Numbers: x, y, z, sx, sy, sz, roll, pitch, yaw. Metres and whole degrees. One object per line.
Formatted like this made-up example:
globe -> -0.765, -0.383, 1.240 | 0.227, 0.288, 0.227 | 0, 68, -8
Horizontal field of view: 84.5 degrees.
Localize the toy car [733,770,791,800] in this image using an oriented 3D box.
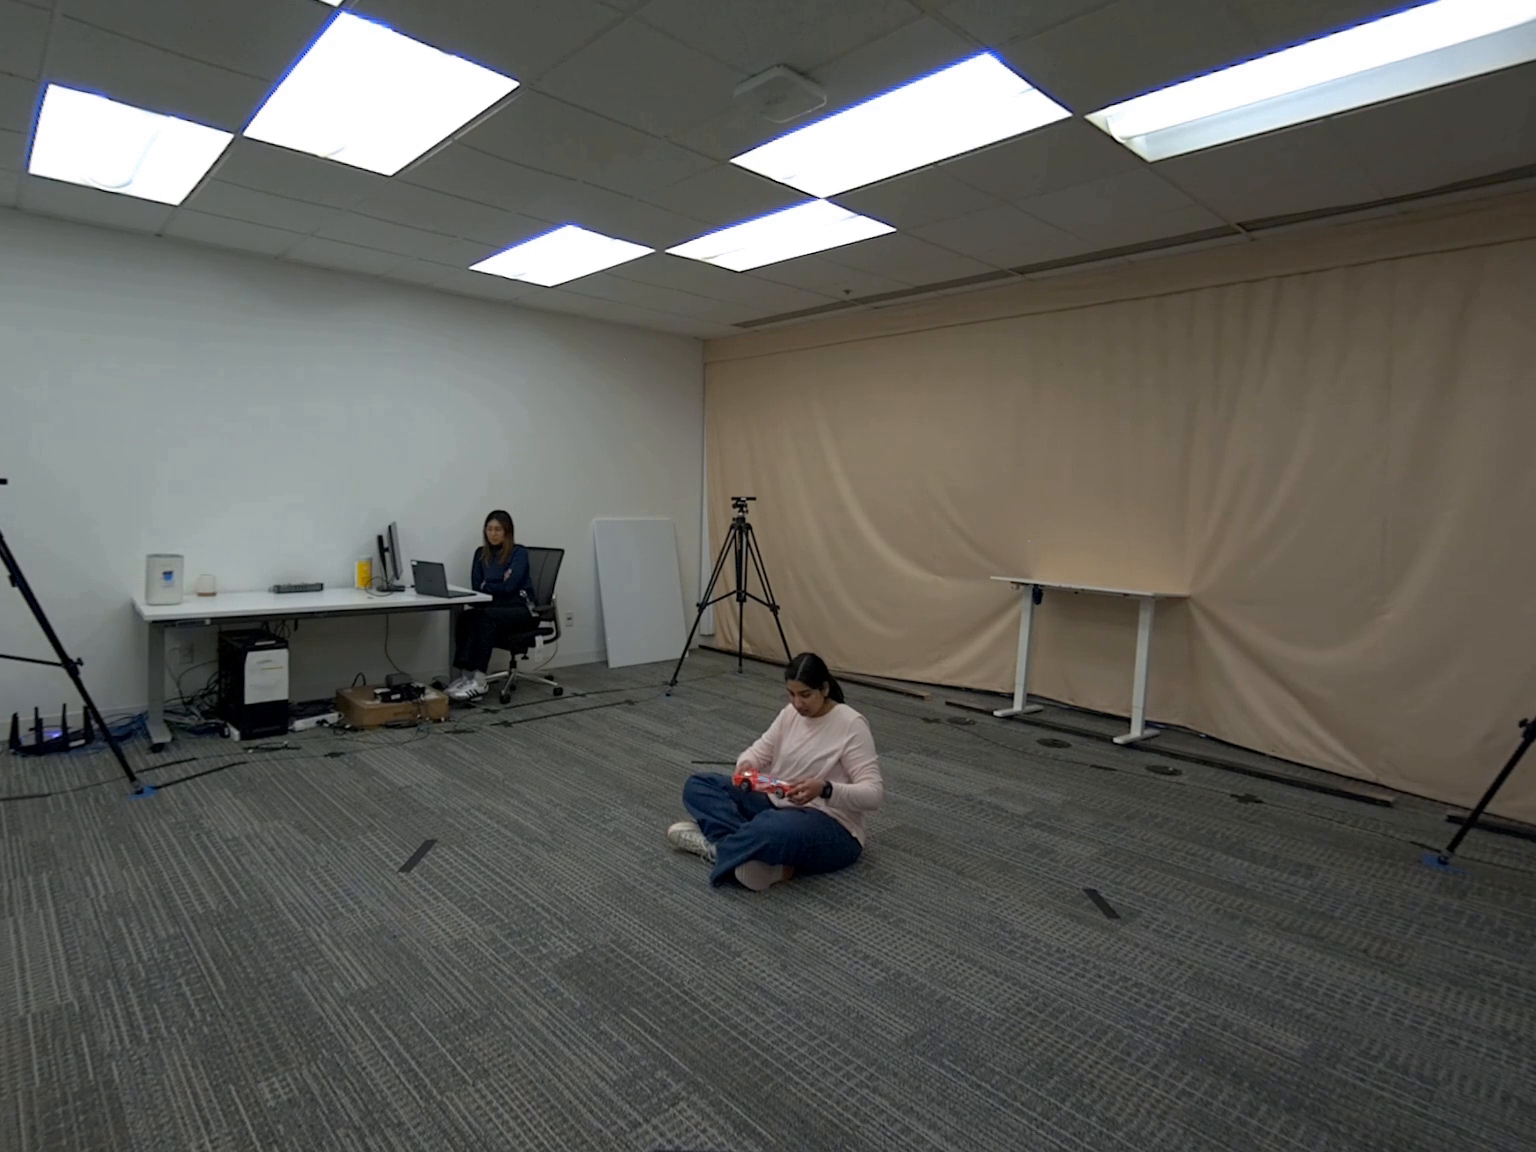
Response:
toy car -> -0.019, 0.776, 3.119 | 0.261, 0.083, 0.126 | 15, -4, 36
